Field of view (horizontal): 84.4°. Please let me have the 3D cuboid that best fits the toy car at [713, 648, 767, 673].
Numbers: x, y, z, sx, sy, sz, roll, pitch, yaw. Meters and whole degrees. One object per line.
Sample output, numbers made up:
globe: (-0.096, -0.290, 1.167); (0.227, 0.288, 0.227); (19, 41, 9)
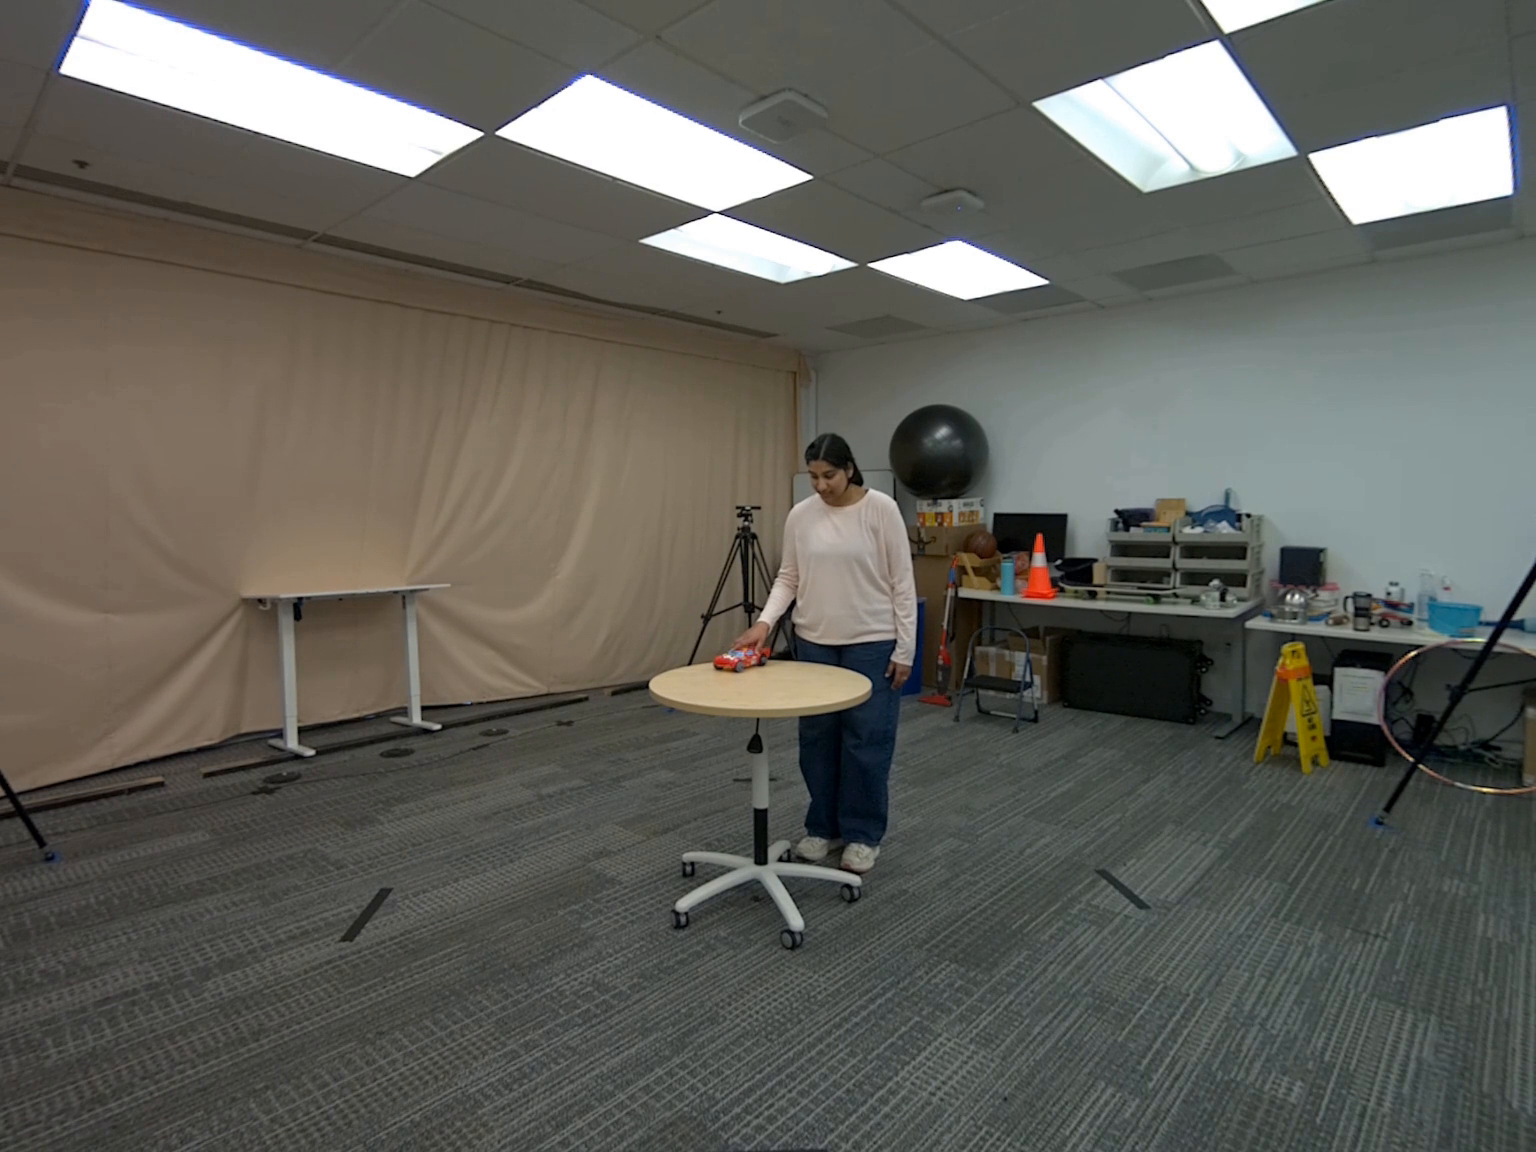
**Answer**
toy car: (-0.090, 0.313, 3.179); (0.134, 0.082, 0.249); (4, 18, 37)
